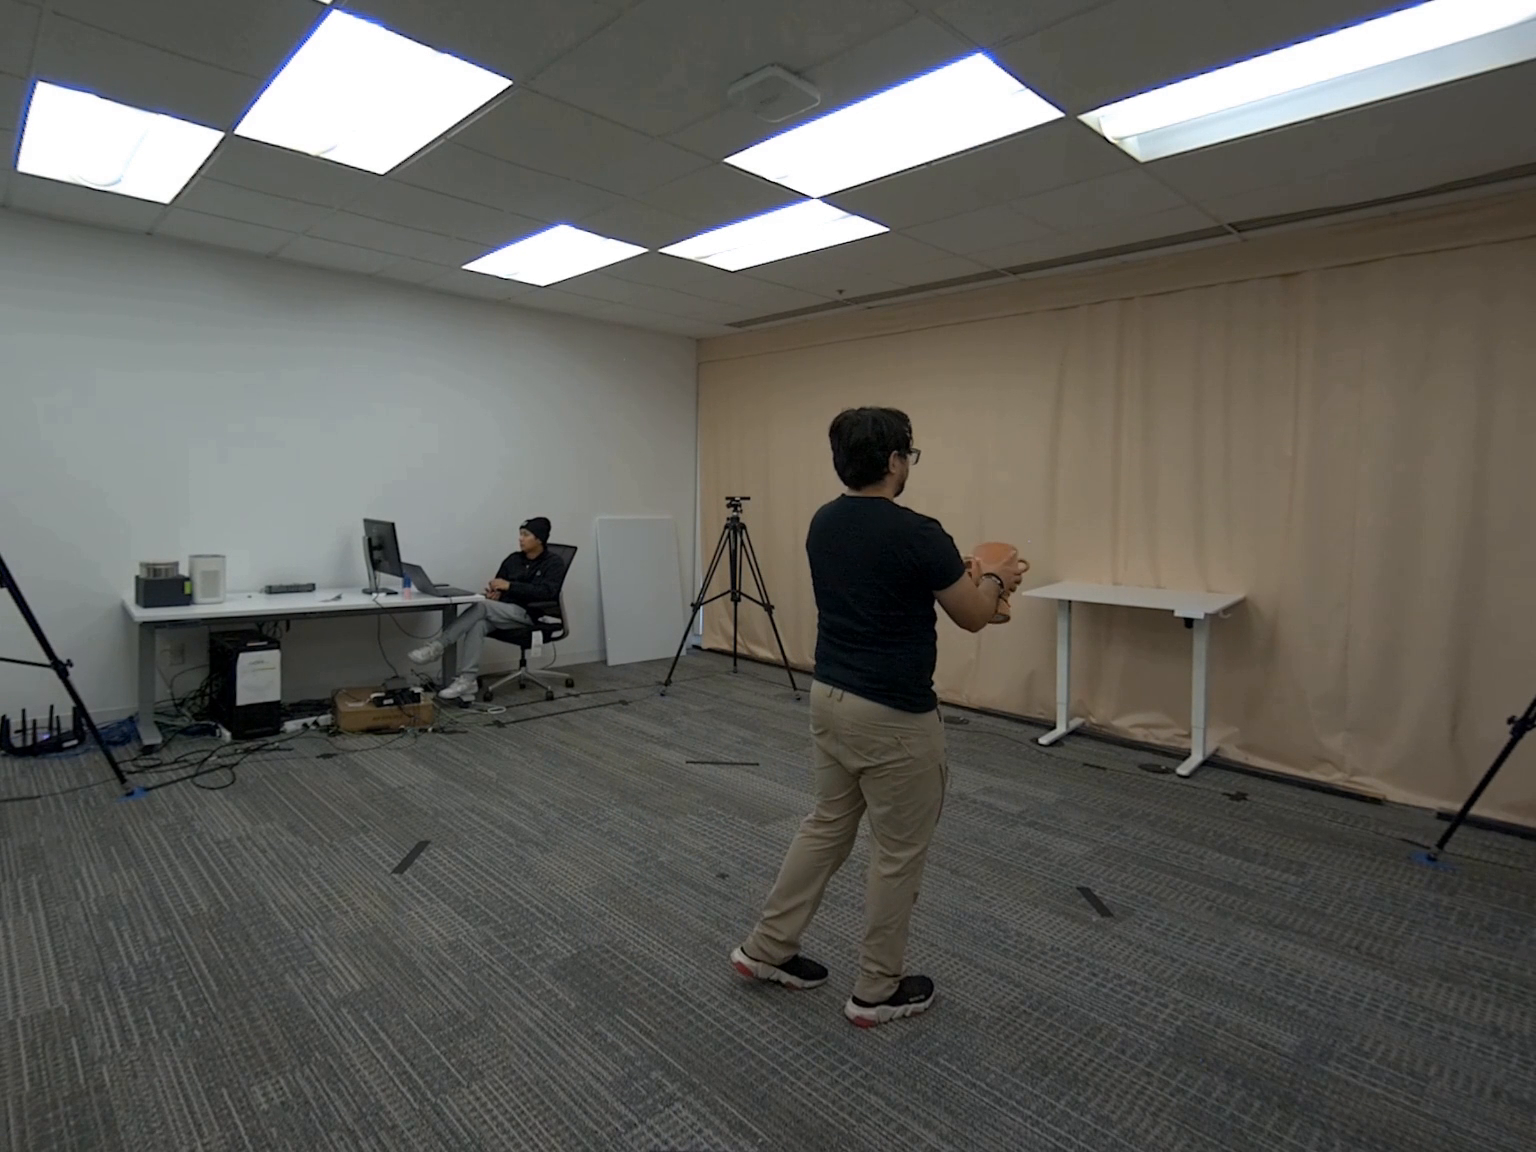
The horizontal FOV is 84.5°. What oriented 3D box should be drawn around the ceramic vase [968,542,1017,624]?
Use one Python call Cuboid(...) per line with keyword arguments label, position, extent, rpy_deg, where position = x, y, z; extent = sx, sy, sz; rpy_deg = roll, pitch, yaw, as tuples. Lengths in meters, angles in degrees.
Cuboid(label="ceramic vase", position=(0.673, 0.025, 2.516), extent=(0.131, 0.223, 0.160), rpy_deg=(24, -28, -27))
